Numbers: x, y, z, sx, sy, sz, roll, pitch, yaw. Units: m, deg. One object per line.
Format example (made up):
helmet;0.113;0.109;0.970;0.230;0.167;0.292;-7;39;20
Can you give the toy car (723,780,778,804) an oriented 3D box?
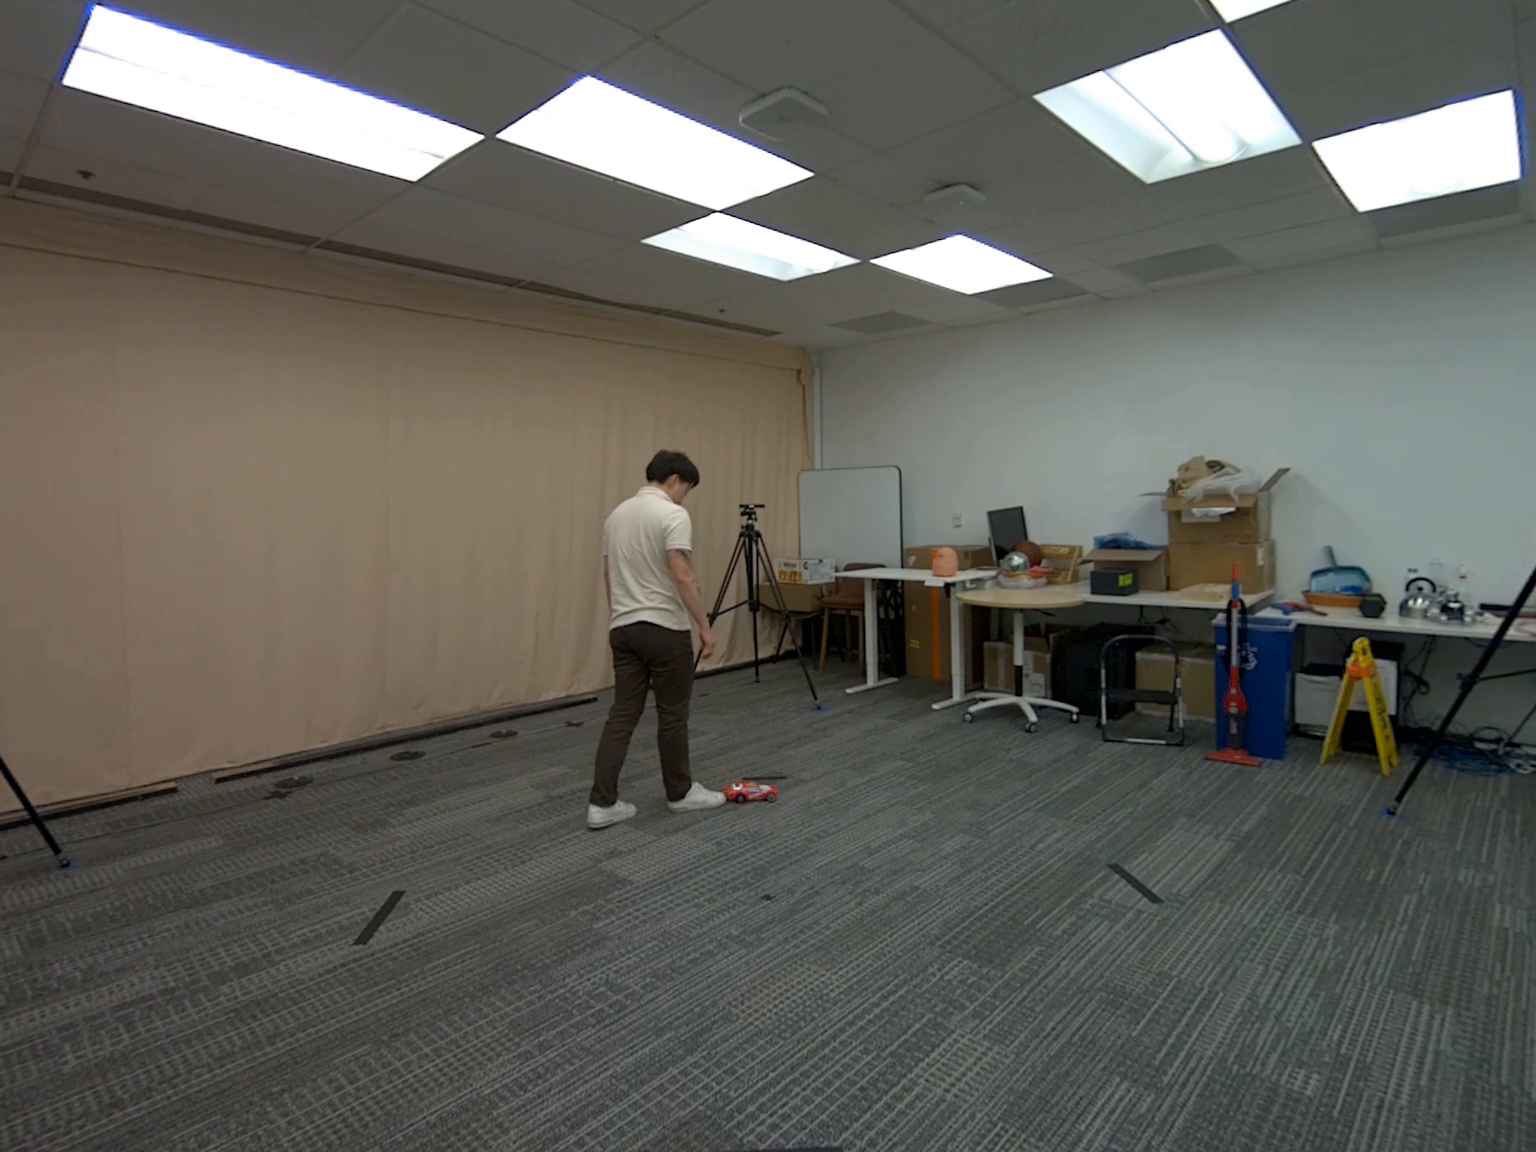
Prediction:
toy car;-0.089;1.030;3.995;0.253;0.083;0.131;10;3;-4
